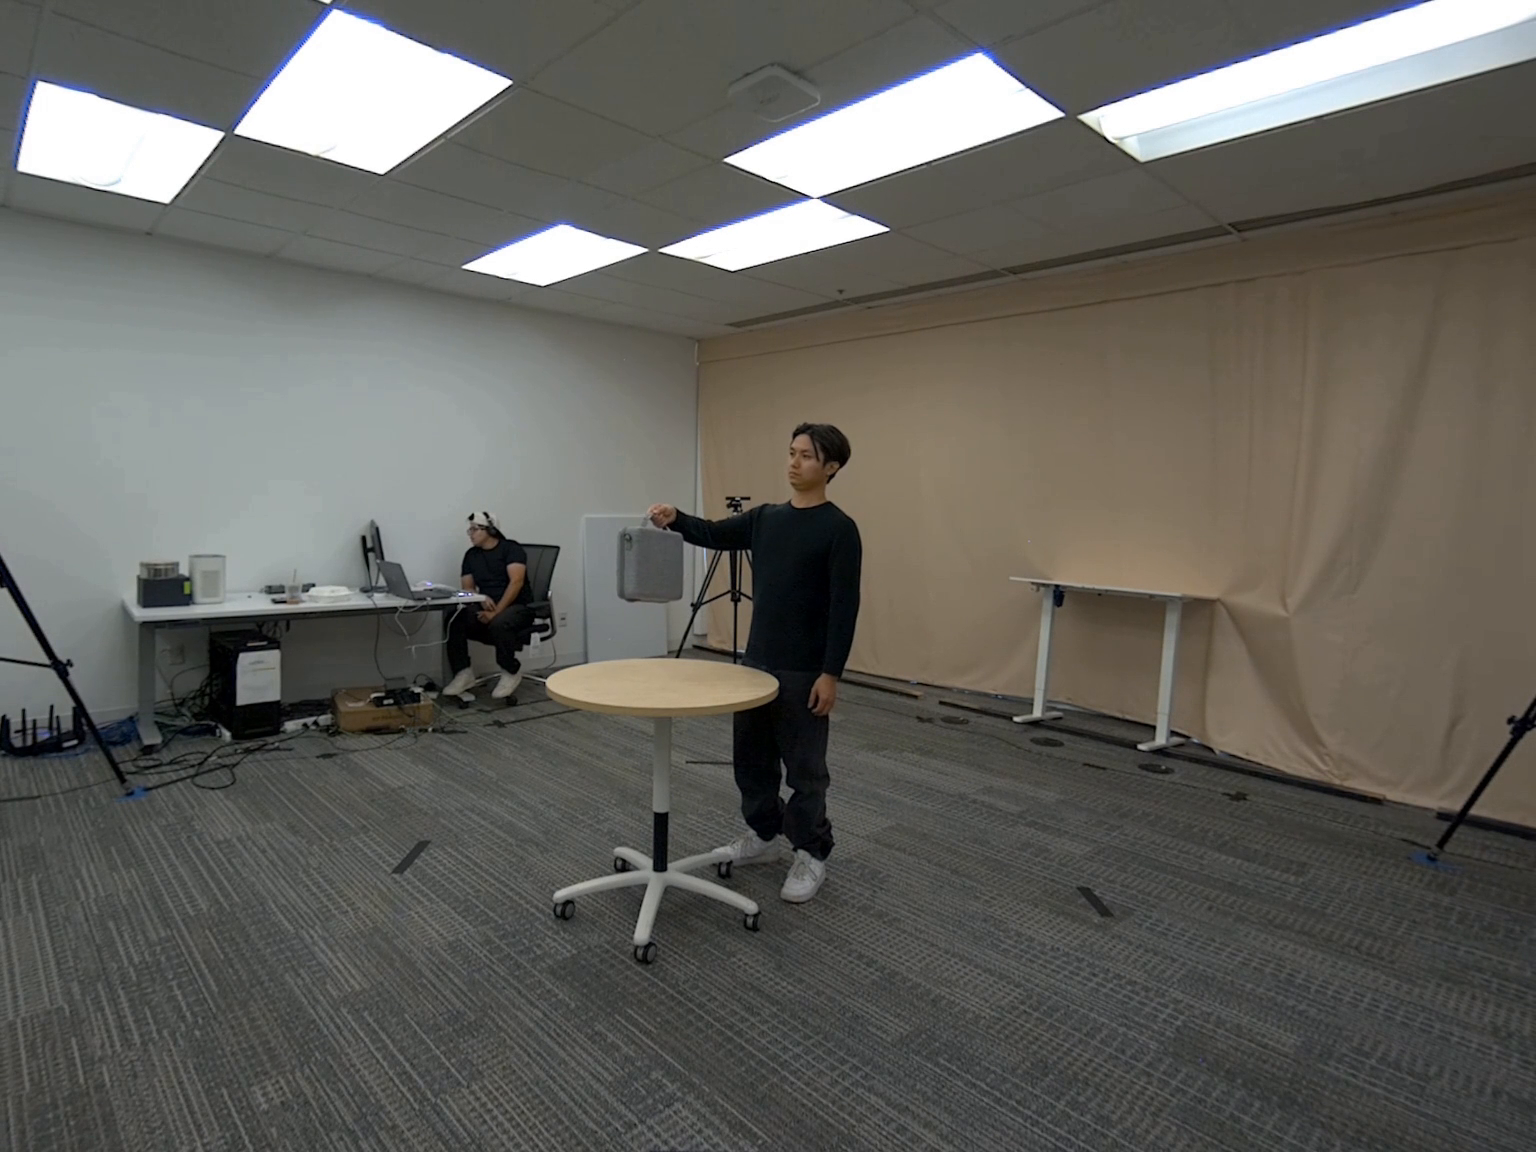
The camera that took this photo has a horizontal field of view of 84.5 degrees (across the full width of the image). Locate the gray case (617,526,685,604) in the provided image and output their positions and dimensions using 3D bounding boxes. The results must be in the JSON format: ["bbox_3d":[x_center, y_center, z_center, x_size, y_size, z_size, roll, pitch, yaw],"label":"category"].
[{"bbox_3d":[-0.423,-0.040,2.944,0.106,0.261,0.250,-2,-5,35],"label":"gray case"}]
